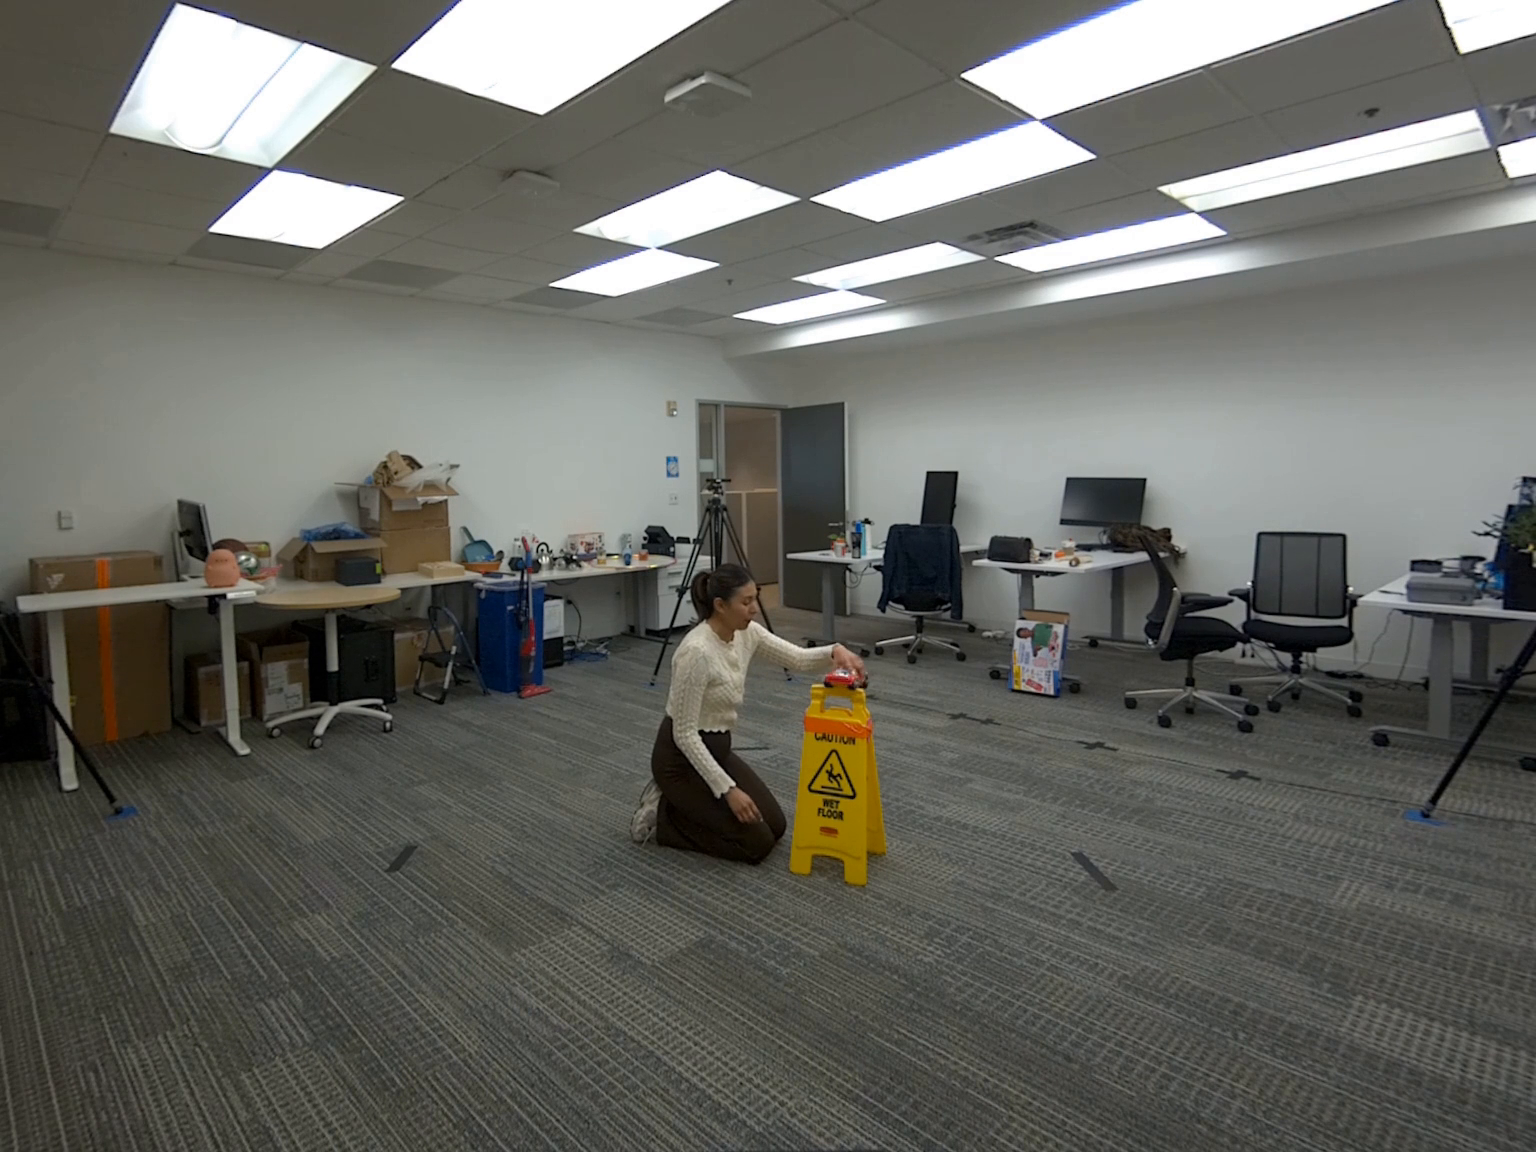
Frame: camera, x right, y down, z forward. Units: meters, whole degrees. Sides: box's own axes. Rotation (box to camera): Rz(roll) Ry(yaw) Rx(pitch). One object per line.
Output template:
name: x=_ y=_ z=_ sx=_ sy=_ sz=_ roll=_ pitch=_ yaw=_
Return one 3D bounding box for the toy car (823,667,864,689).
toy car: x=0.295 y=0.375 z=3.116 sx=0.133 sy=0.083 sz=0.250 roll=3 pitch=8 yaw=22
